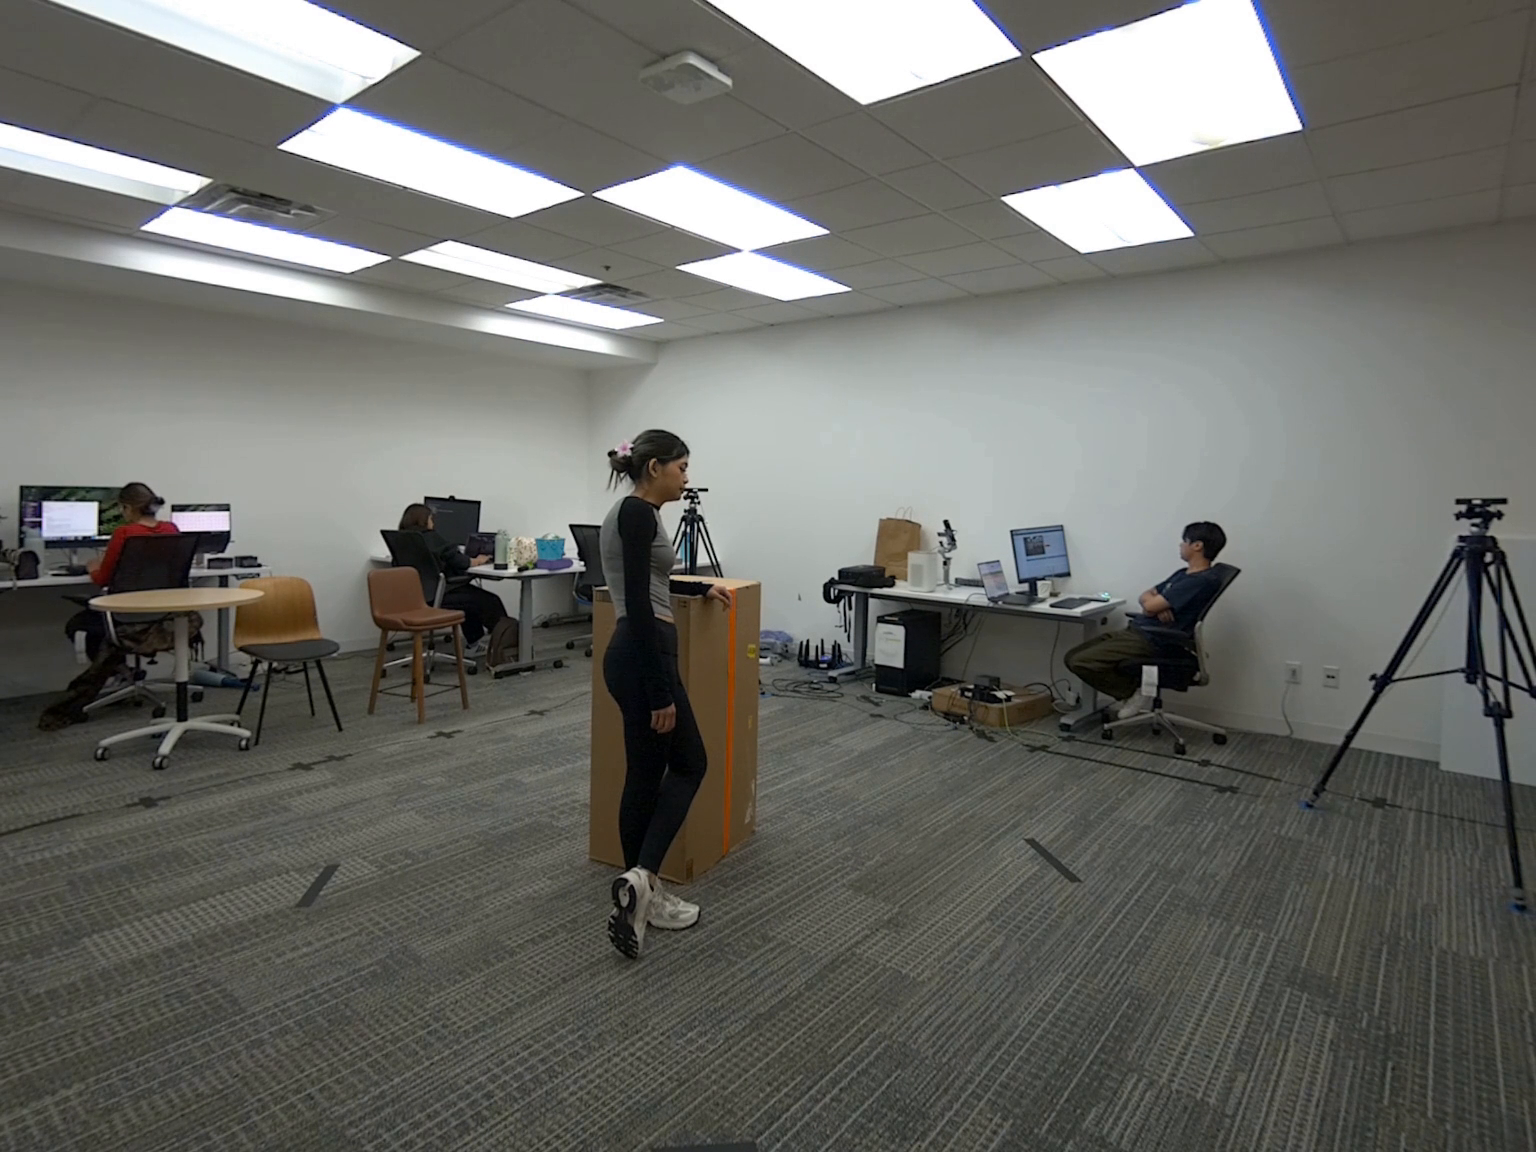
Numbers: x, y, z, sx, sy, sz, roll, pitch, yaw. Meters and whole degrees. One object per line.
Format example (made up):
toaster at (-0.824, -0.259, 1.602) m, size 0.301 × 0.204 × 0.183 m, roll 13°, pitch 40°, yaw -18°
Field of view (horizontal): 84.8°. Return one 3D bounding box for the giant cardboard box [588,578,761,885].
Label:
giant cardboard box at (-0.356, 0.539, 3.303) m, size 0.438 × 1.022 × 0.564 m, roll 3°, pitch 4°, yaw 27°
